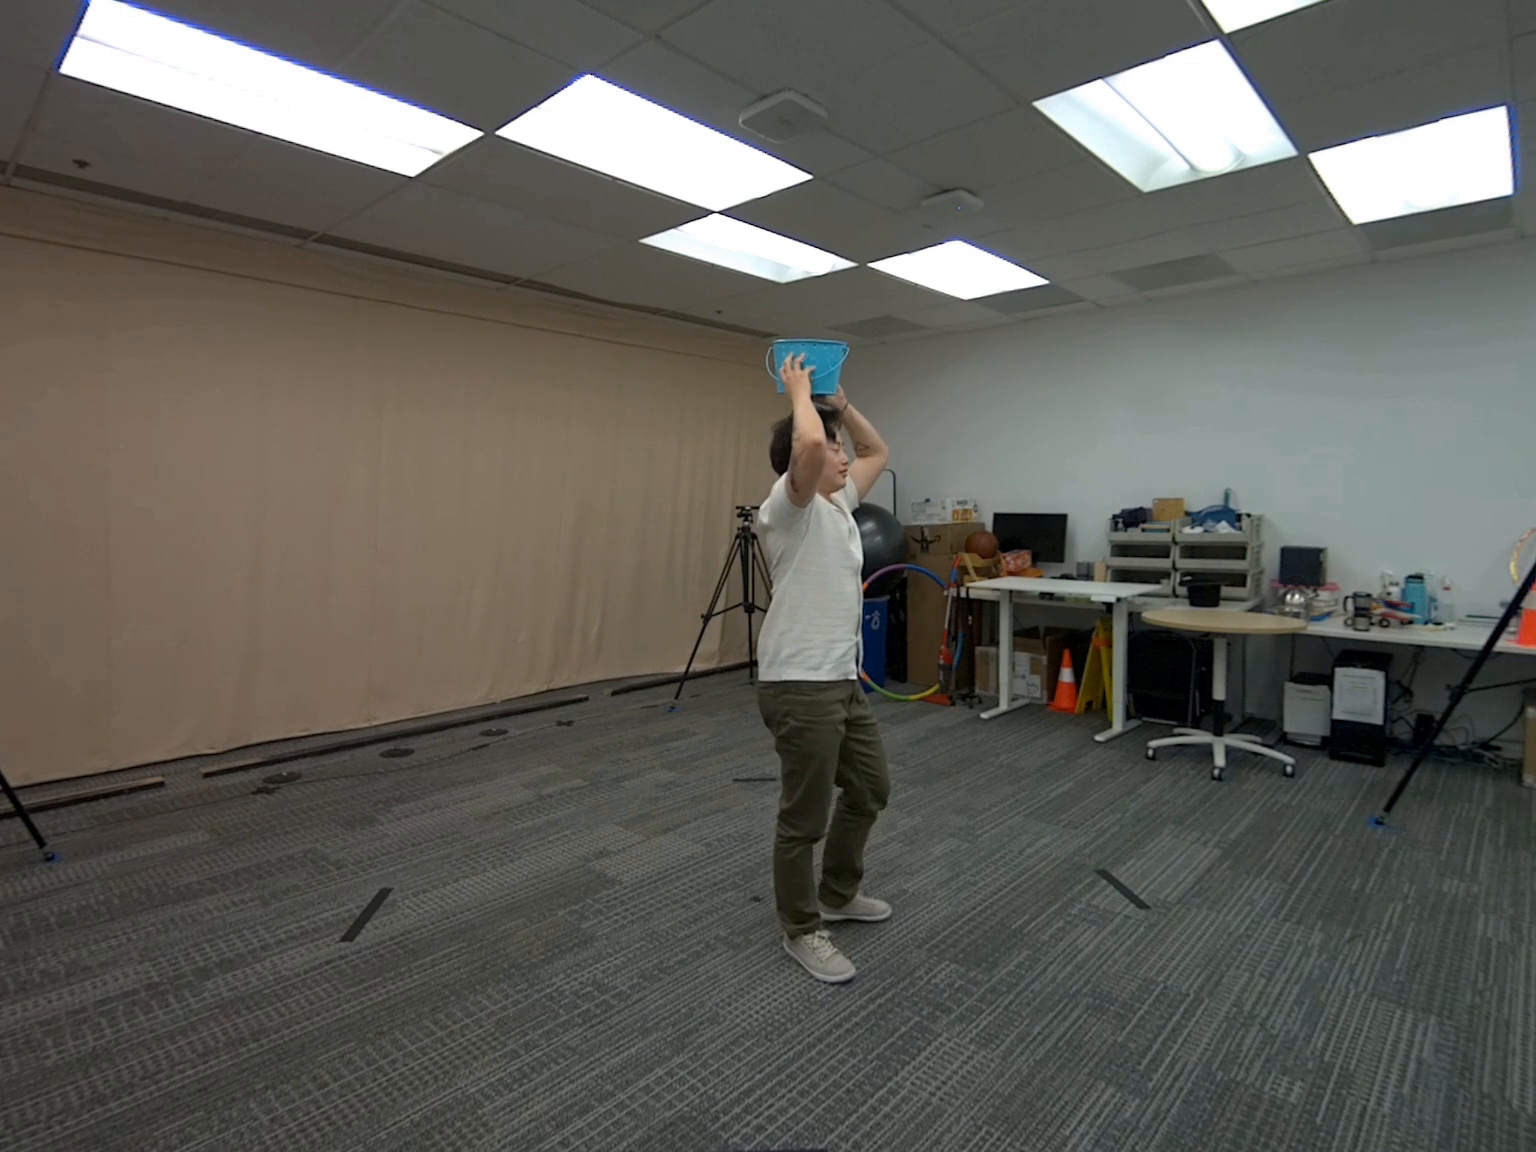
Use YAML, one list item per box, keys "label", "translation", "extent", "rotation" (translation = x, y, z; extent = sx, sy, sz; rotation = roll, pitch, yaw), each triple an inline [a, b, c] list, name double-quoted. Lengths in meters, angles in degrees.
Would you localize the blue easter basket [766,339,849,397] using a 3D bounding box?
- label: "blue easter basket"
  translation: [0.131, -0.641, 2.573]
  extent: [0.243, 0.155, 0.245]
  rotation: [3, 10, -2]
